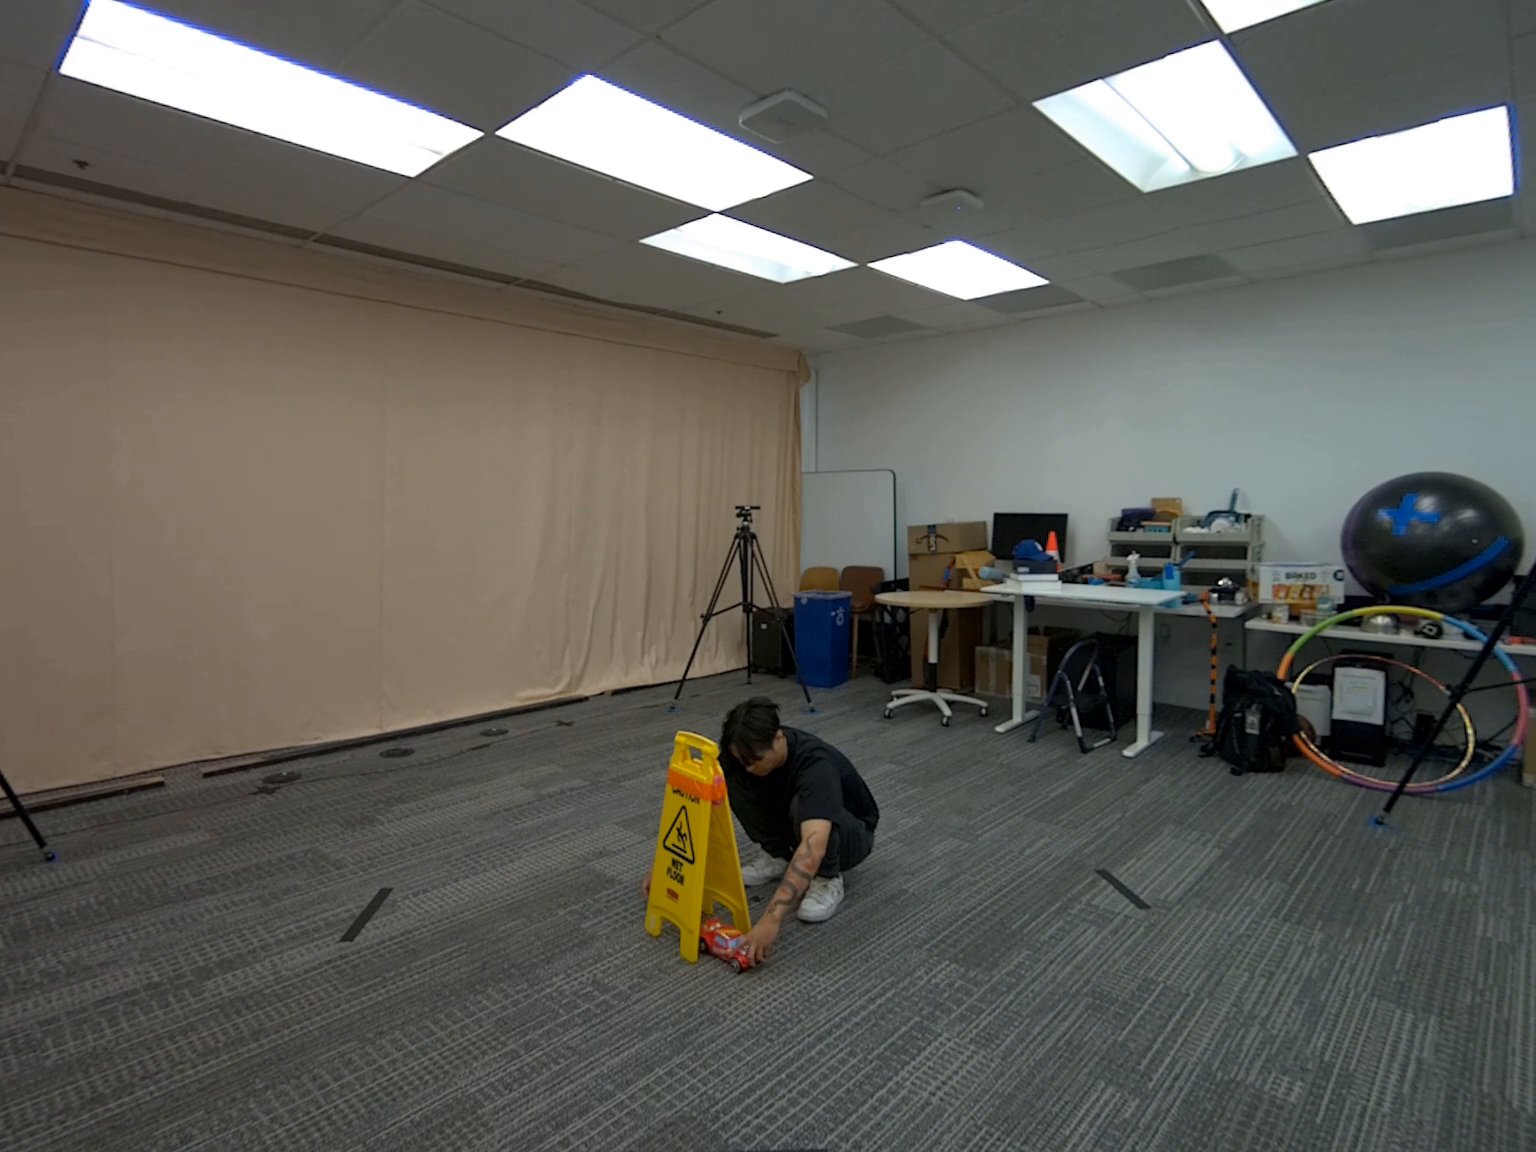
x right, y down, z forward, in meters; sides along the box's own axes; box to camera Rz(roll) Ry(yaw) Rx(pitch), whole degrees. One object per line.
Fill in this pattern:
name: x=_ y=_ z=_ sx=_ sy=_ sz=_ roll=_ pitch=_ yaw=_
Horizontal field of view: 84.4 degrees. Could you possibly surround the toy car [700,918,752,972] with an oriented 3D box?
toy car: x=-0.128 y=1.139 z=2.612 sx=0.126 sy=0.083 sz=0.264 roll=-4 pitch=17 yaw=-43
